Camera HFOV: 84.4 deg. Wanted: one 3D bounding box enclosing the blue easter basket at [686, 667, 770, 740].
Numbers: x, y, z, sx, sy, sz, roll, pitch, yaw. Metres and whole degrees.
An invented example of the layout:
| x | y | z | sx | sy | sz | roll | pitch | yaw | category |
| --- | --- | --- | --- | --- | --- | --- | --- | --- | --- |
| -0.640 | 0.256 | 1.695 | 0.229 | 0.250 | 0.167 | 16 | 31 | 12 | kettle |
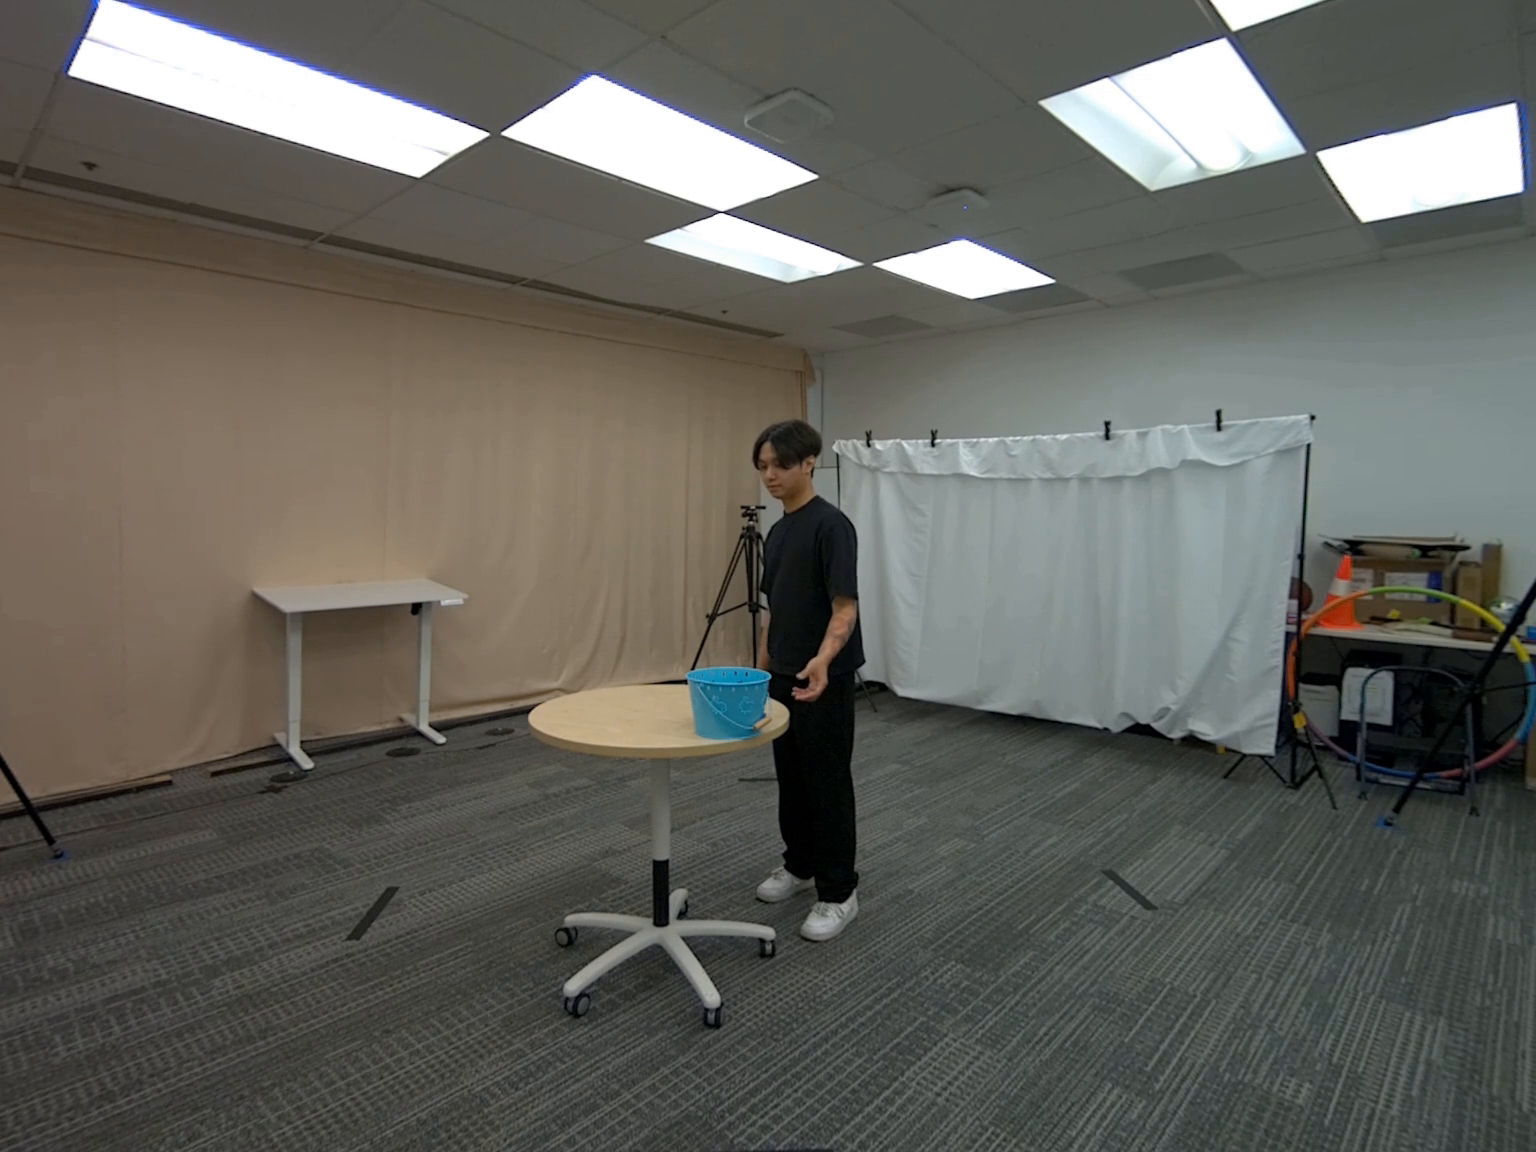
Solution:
| x | y | z | sx | sy | sz | roll | pitch | yaw | category |
| --- | --- | --- | --- | --- | --- | --- | --- | --- | --- |
| -0.108 | 0.353 | 2.247 | 0.243 | 0.155 | 0.244 | -1 | 4 | -2 | blue easter basket |
